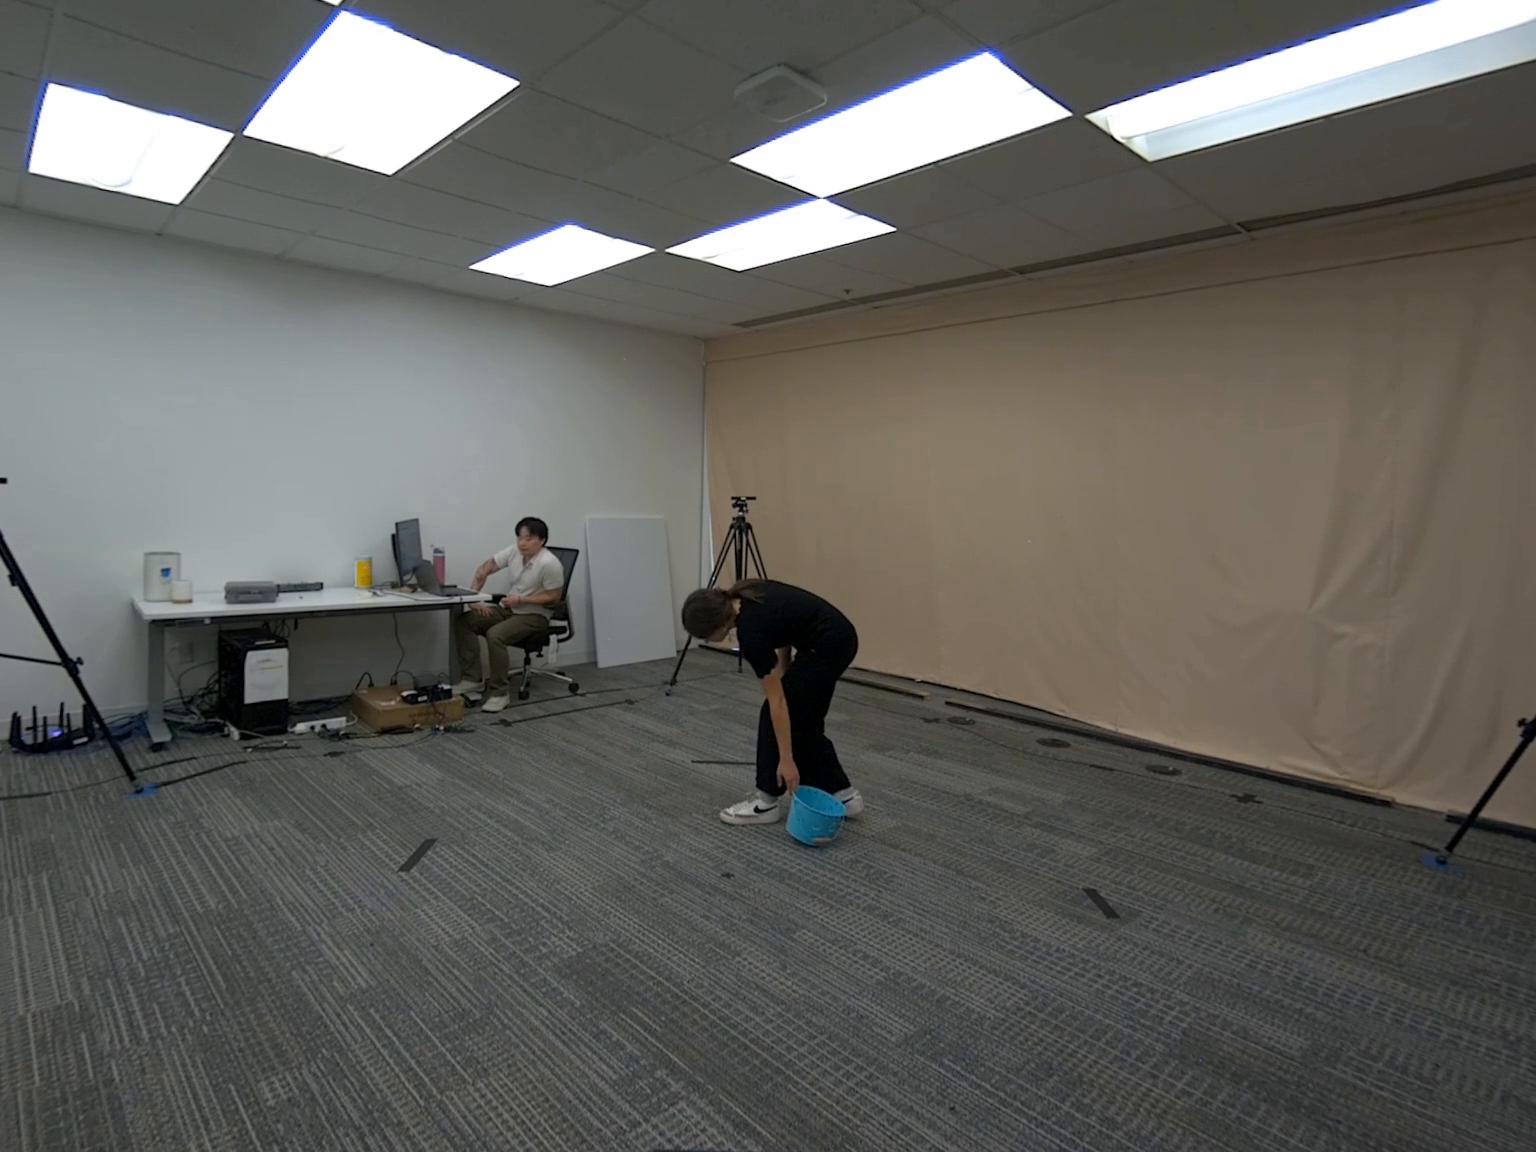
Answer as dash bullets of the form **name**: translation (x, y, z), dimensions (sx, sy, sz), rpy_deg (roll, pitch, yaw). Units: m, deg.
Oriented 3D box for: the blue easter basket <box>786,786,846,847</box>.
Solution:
- **blue easter basket**: translation (0.176, 0.988, 3.443), dimensions (0.243, 0.155, 0.245), rpy_deg (17, 7, -3)
